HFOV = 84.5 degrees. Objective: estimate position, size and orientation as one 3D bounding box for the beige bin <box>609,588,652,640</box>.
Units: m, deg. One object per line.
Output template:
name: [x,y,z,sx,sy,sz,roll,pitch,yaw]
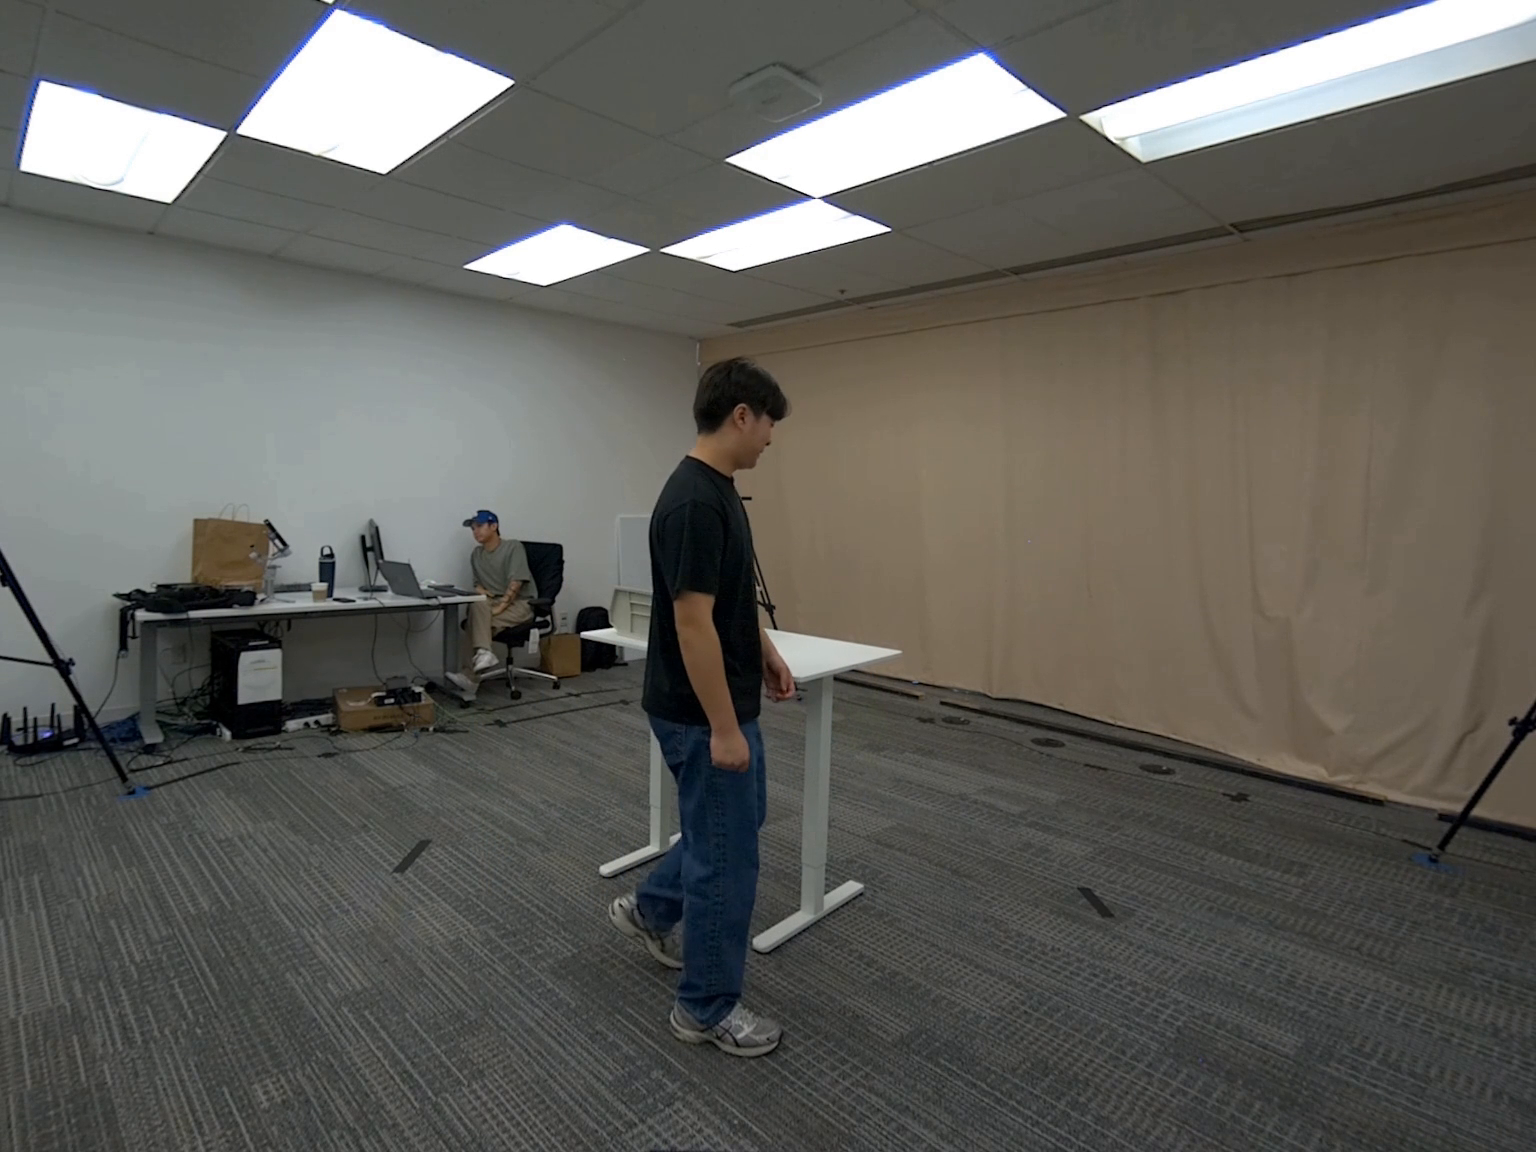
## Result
beige bin: [-0.310,0.132,3.109,0.387,0.188,0.413,8,8,43]
